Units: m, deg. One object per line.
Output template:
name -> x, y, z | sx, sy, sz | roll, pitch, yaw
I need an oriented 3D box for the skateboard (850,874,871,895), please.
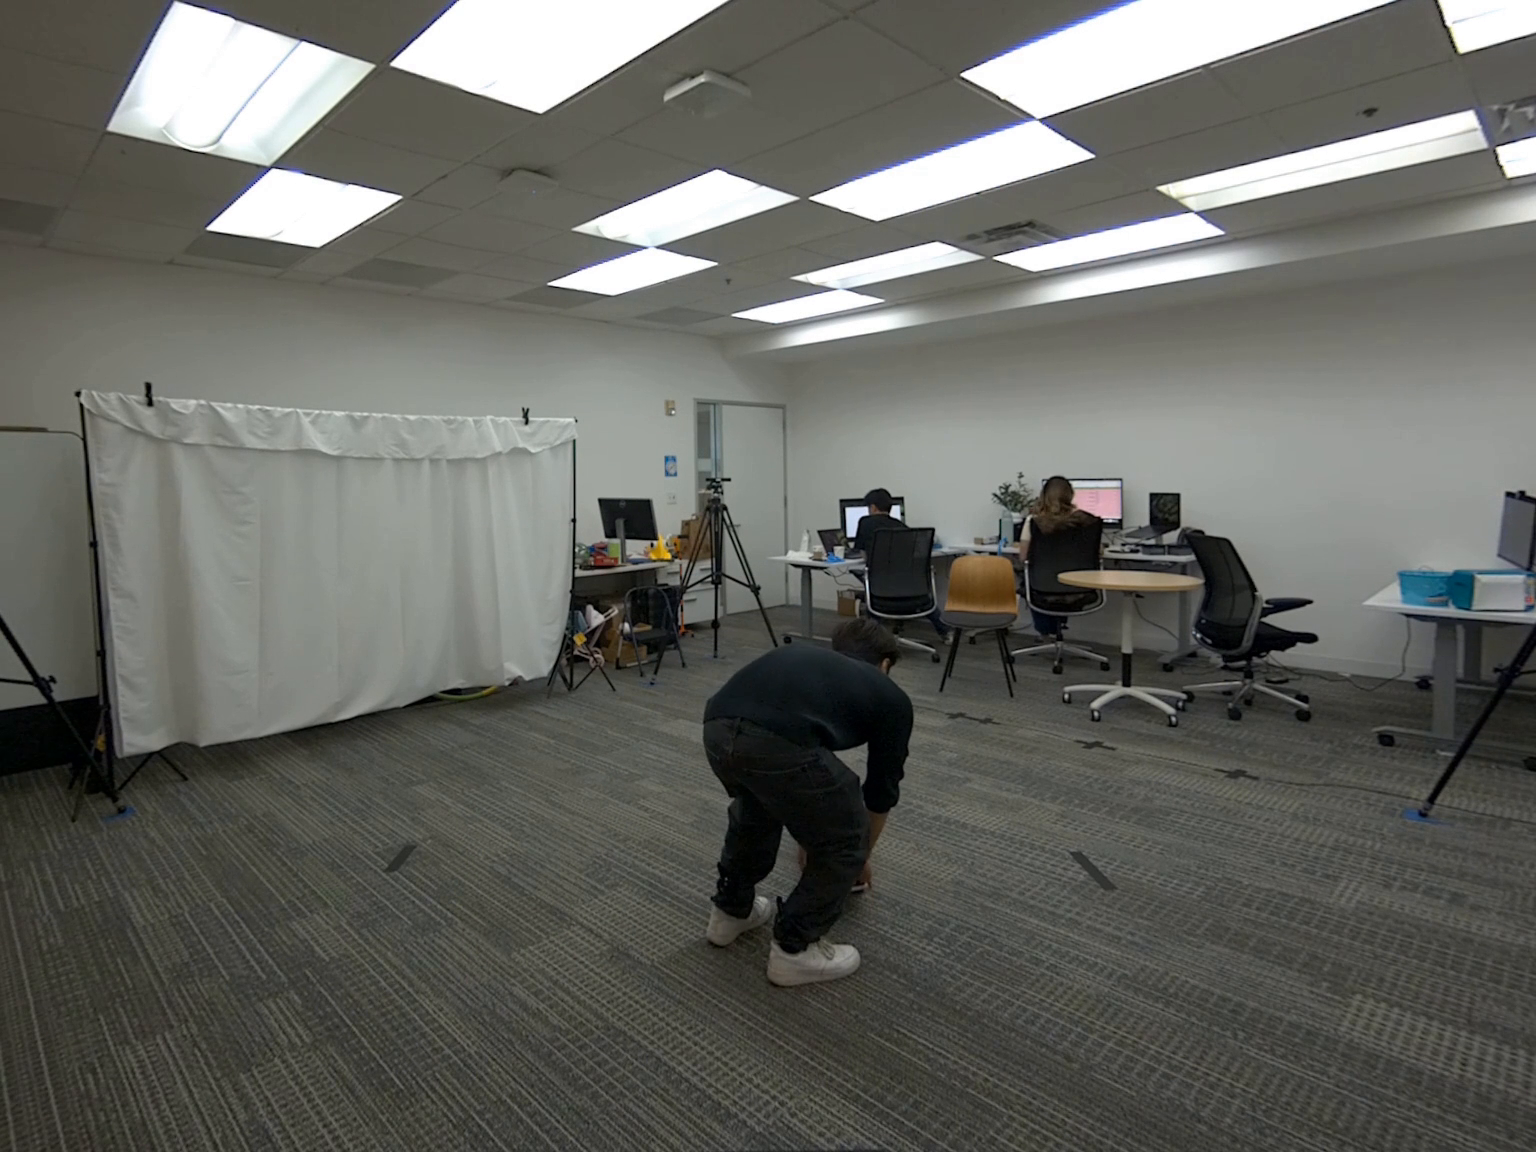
skateboard -> 0.242, 0.988, 3.084 | 0.194, 0.110, 0.788 | -1, 7, 0
